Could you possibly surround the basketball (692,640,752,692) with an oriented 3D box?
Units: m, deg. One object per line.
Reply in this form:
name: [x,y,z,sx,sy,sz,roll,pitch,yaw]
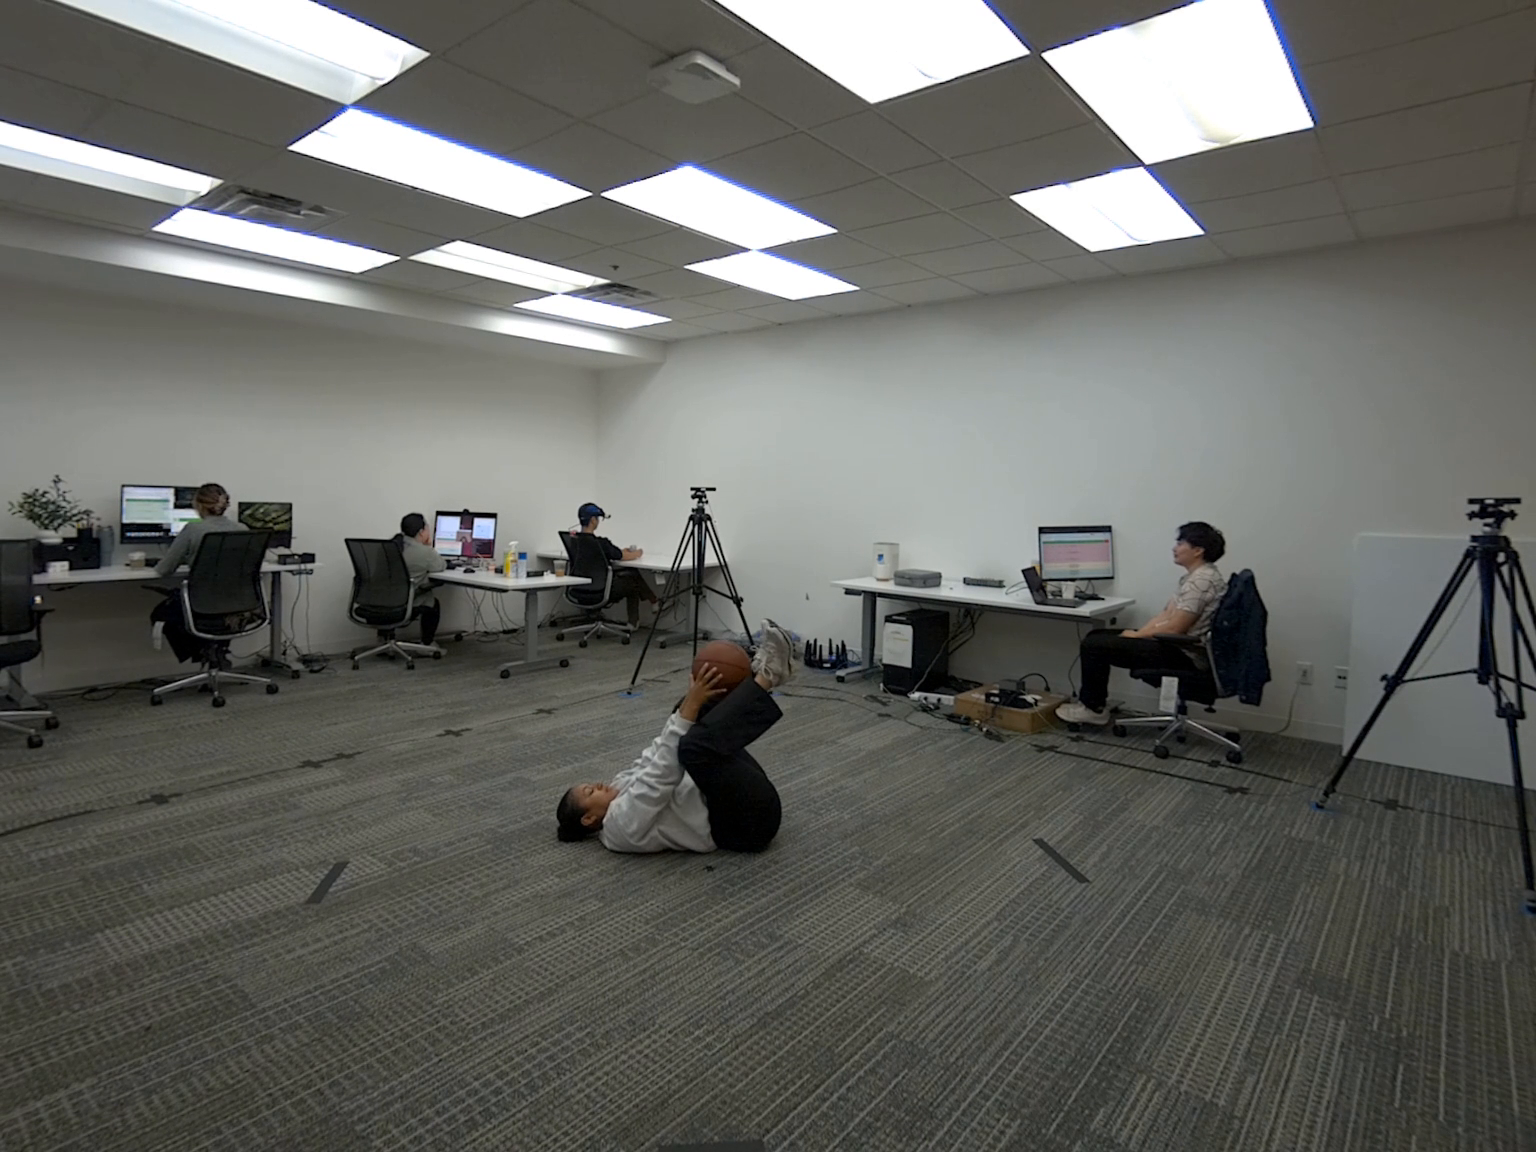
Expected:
basketball: [-0.215,0.367,3.363,0.235,0.235,0.237,1,4,-2]
